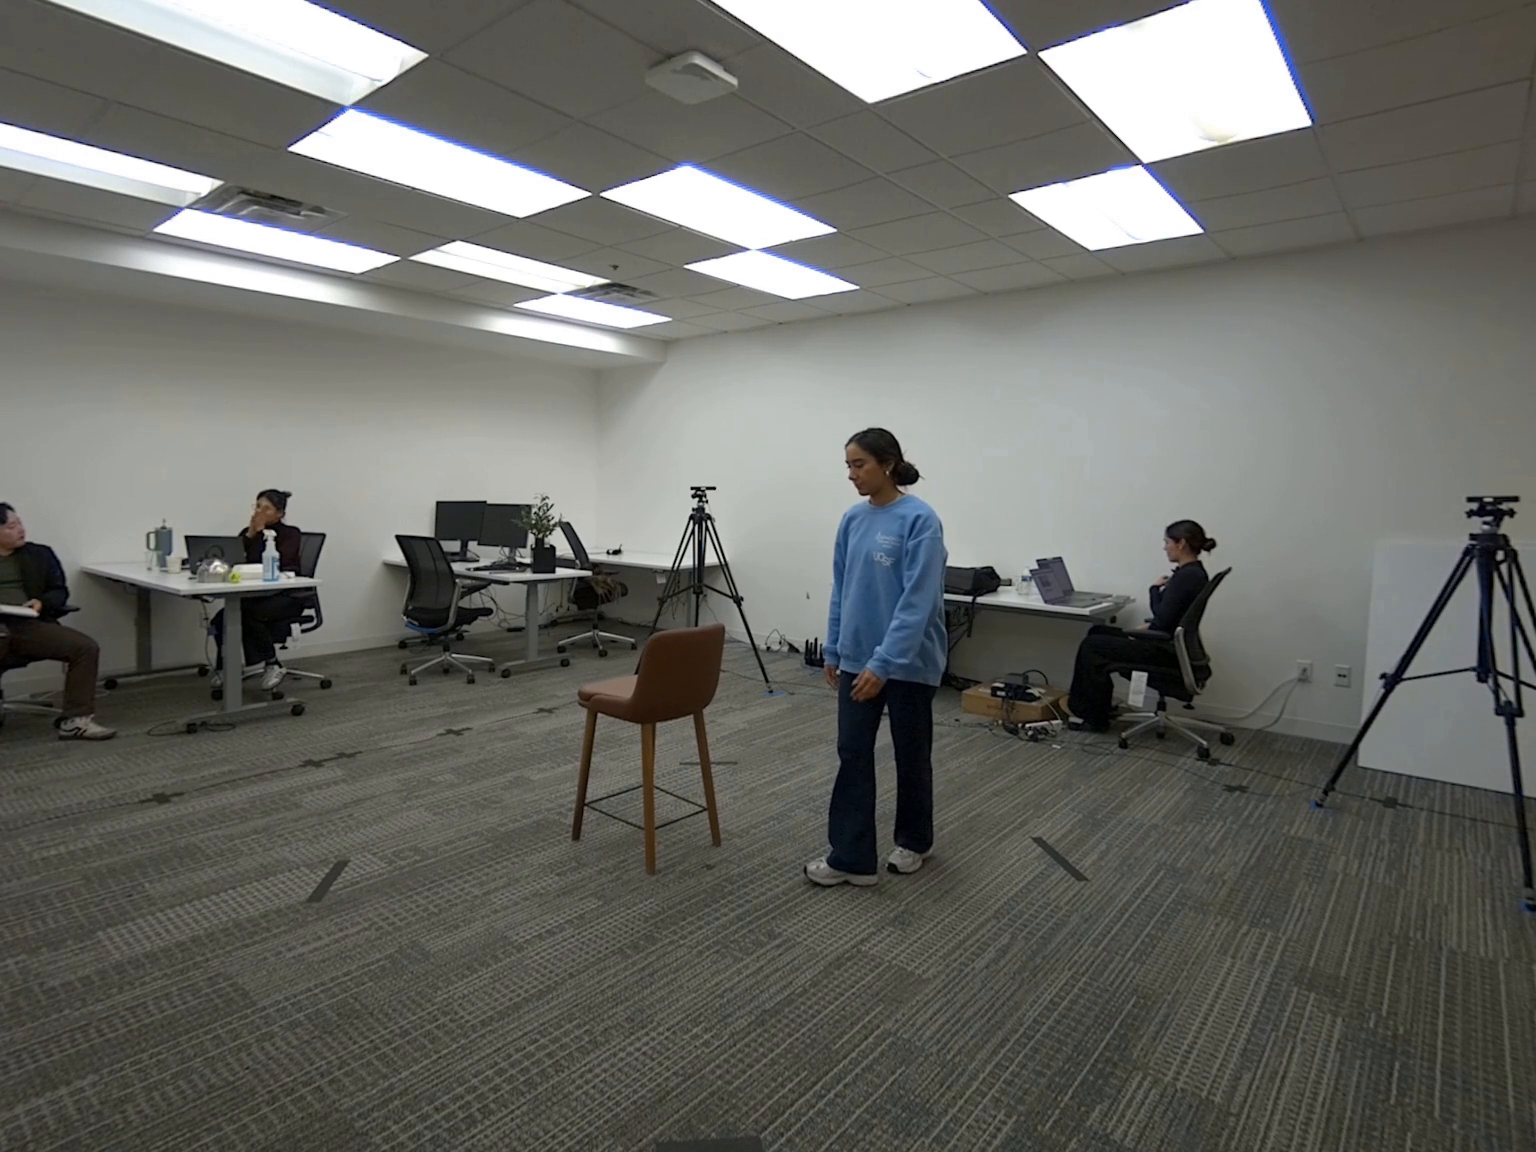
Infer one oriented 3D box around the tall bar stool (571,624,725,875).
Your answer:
[{"bbox_3d":[-0.470,0.606,3.308,0.484,0.886,0.443,7,6,42],"label":"tall bar stool"}]
